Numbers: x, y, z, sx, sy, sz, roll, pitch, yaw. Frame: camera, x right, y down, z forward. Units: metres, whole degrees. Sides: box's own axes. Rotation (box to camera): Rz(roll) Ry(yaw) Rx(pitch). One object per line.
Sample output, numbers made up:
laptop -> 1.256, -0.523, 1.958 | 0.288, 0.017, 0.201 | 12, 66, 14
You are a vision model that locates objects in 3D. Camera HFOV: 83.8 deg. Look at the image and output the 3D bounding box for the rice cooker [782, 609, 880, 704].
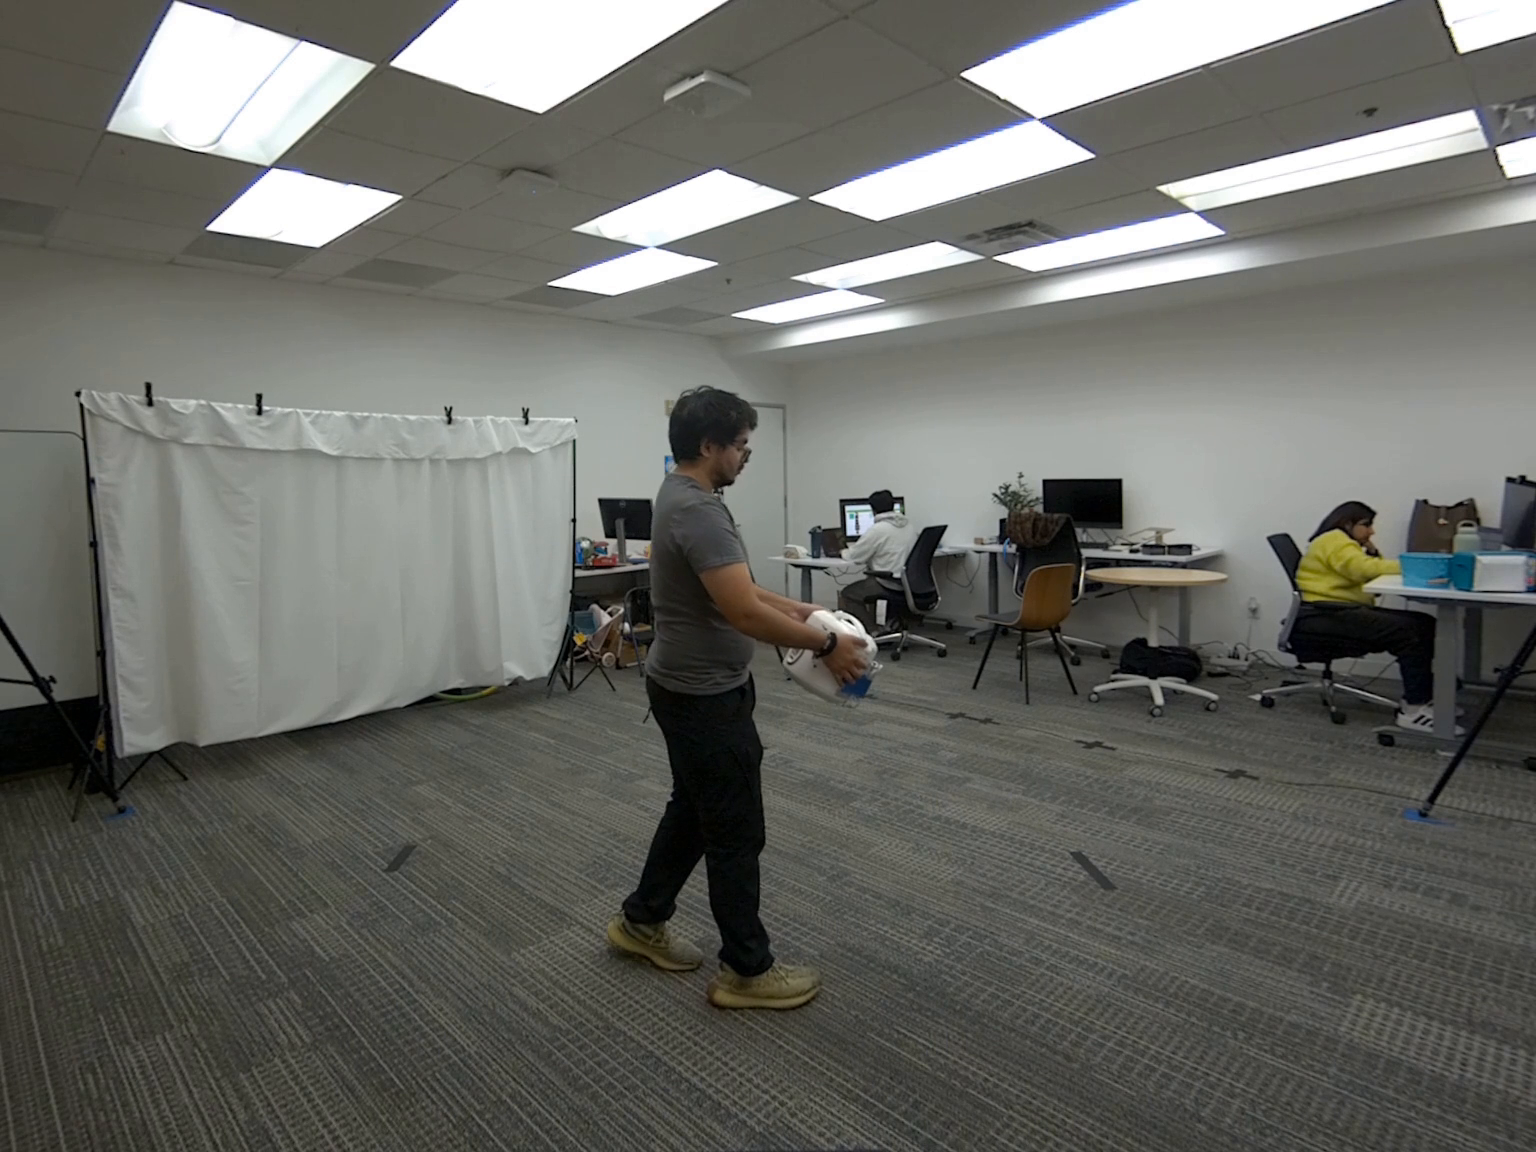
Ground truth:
rice cooker -> 0.171, 0.212, 2.367 | 0.211, 0.232, 0.228 | 29, 3, -28
